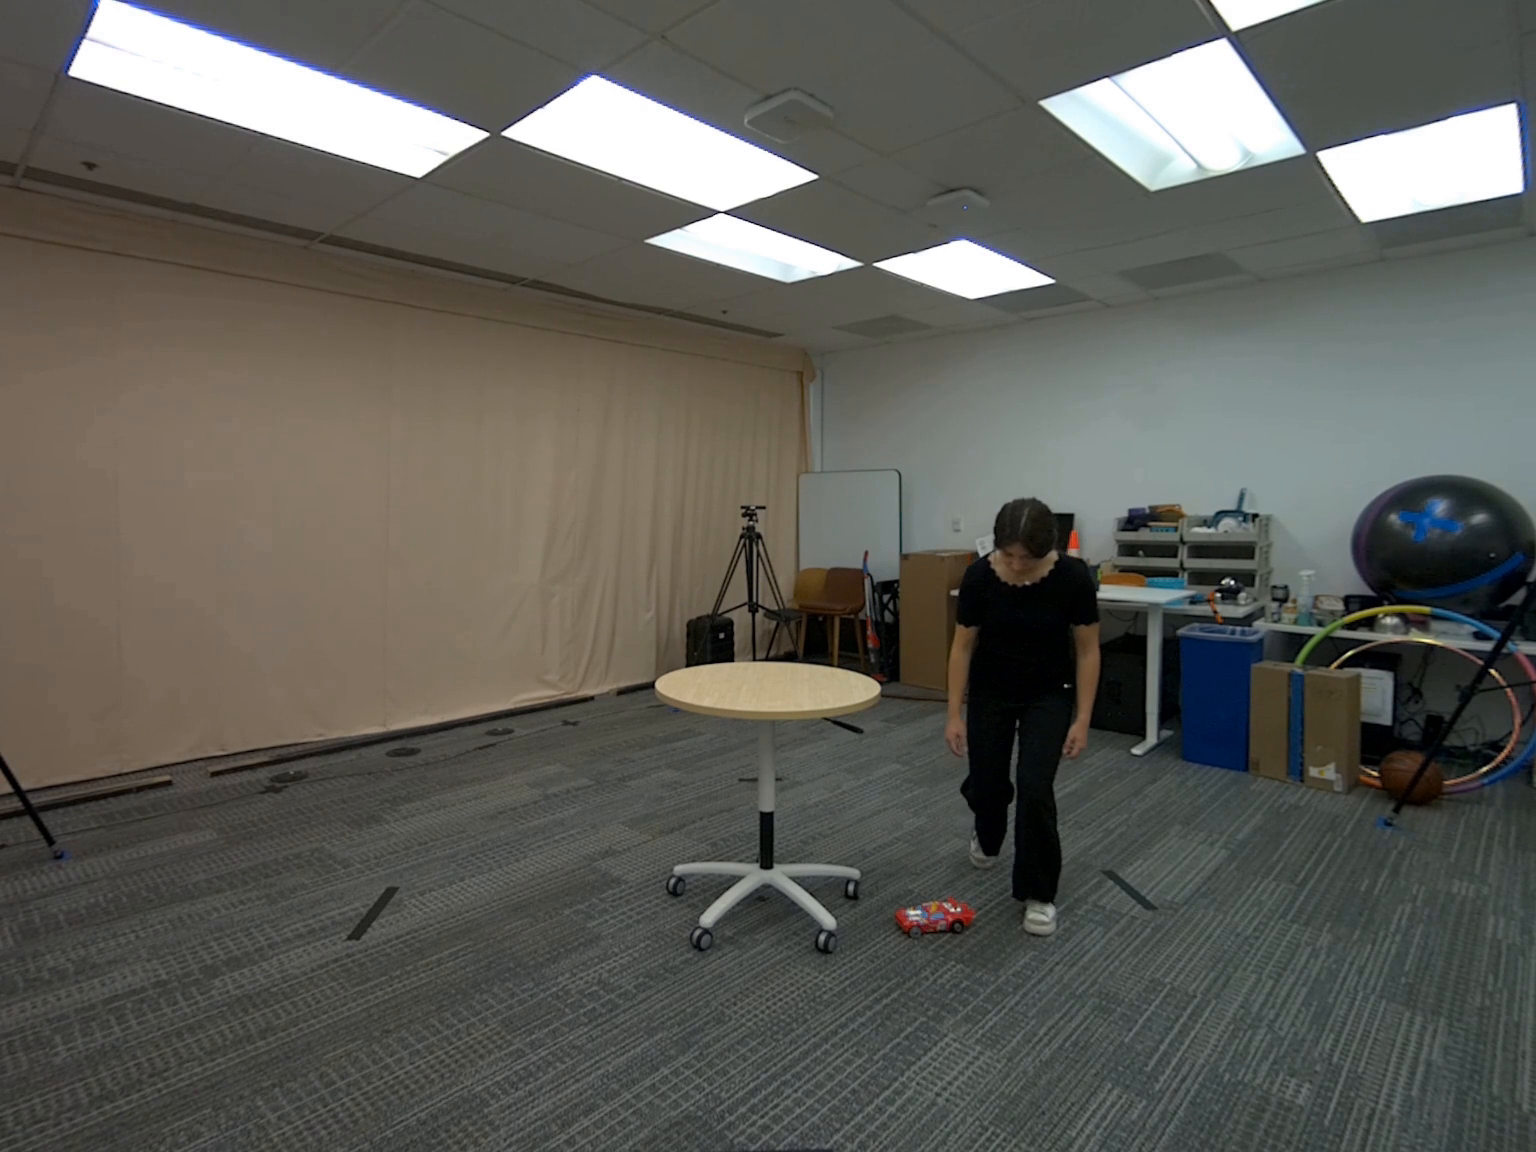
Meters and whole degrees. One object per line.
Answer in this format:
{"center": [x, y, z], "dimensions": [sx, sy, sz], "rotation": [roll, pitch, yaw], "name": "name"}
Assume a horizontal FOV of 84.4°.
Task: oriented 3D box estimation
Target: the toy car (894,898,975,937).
{"center": [0.559, 1.133, 2.769], "dimensions": [0.252, 0.083, 0.132], "rotation": [-13, 7, -10], "name": "toy car"}
